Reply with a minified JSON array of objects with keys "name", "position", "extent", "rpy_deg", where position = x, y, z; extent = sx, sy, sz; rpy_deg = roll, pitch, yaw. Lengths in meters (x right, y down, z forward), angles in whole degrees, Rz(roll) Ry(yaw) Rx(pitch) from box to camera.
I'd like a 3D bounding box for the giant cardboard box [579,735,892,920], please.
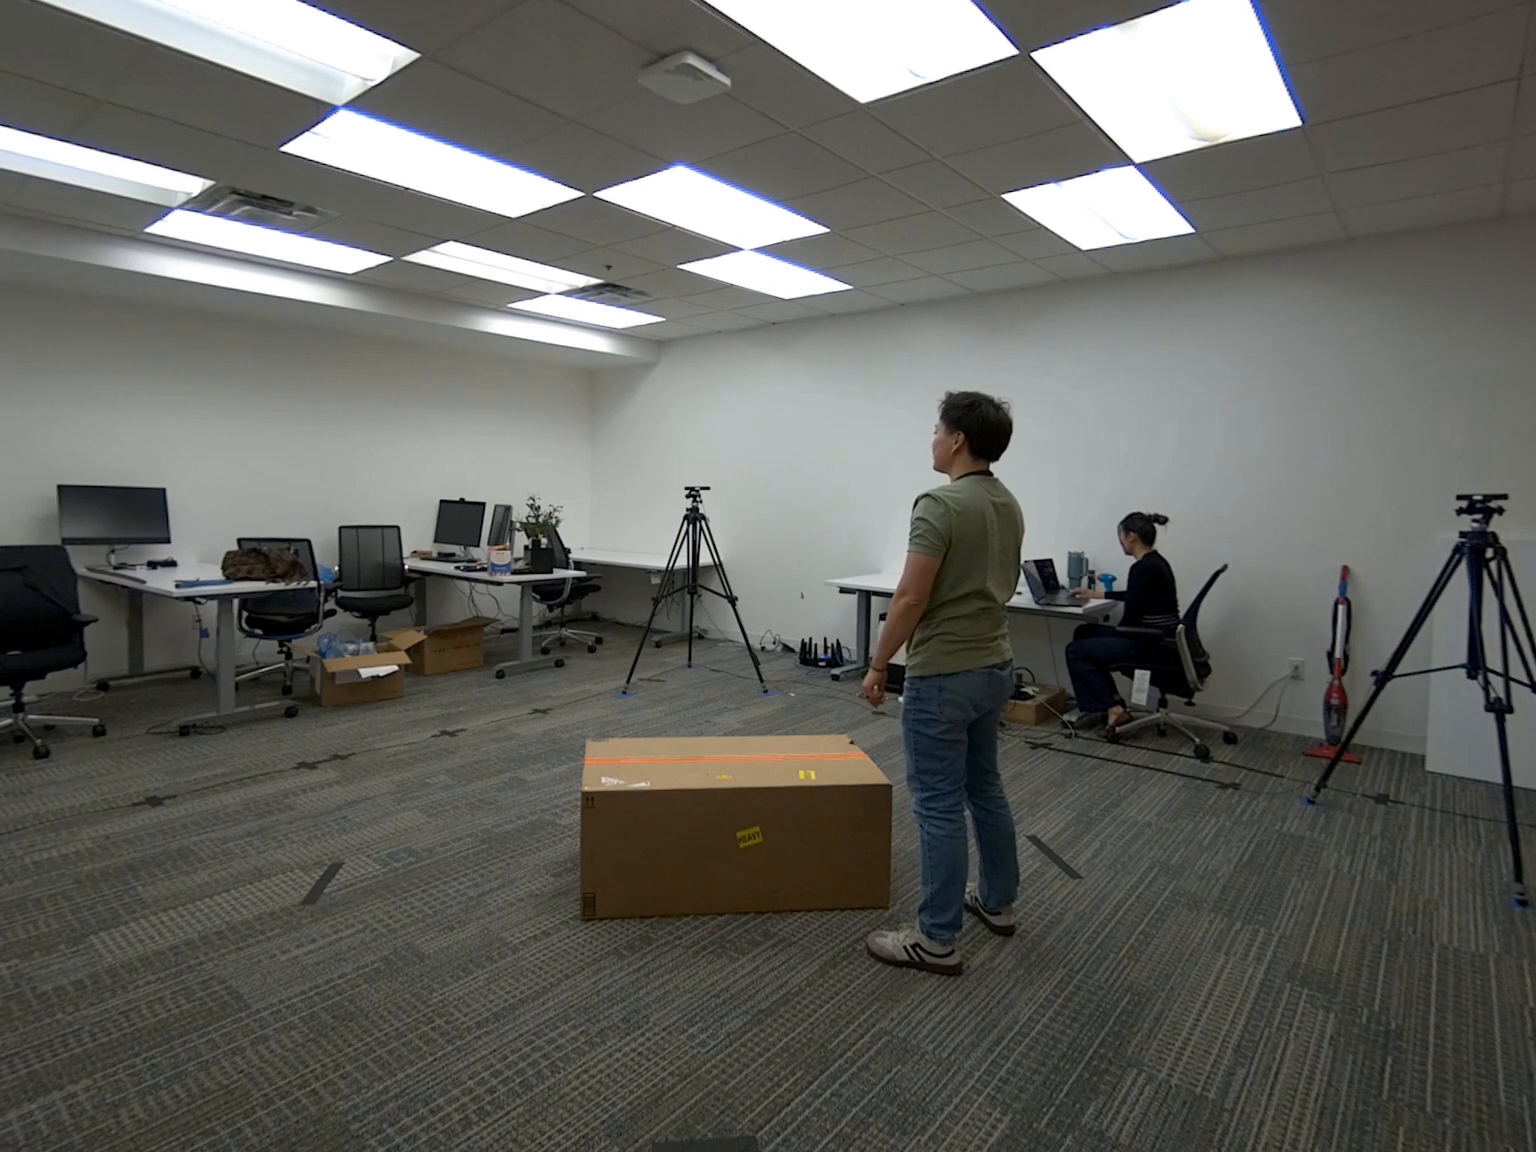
[{"name":"giant cardboard box","position":[-0.158,0.857,3.044],"extent":[1.018,0.424,0.585],"rpy_deg":[1,5,-8]}]
